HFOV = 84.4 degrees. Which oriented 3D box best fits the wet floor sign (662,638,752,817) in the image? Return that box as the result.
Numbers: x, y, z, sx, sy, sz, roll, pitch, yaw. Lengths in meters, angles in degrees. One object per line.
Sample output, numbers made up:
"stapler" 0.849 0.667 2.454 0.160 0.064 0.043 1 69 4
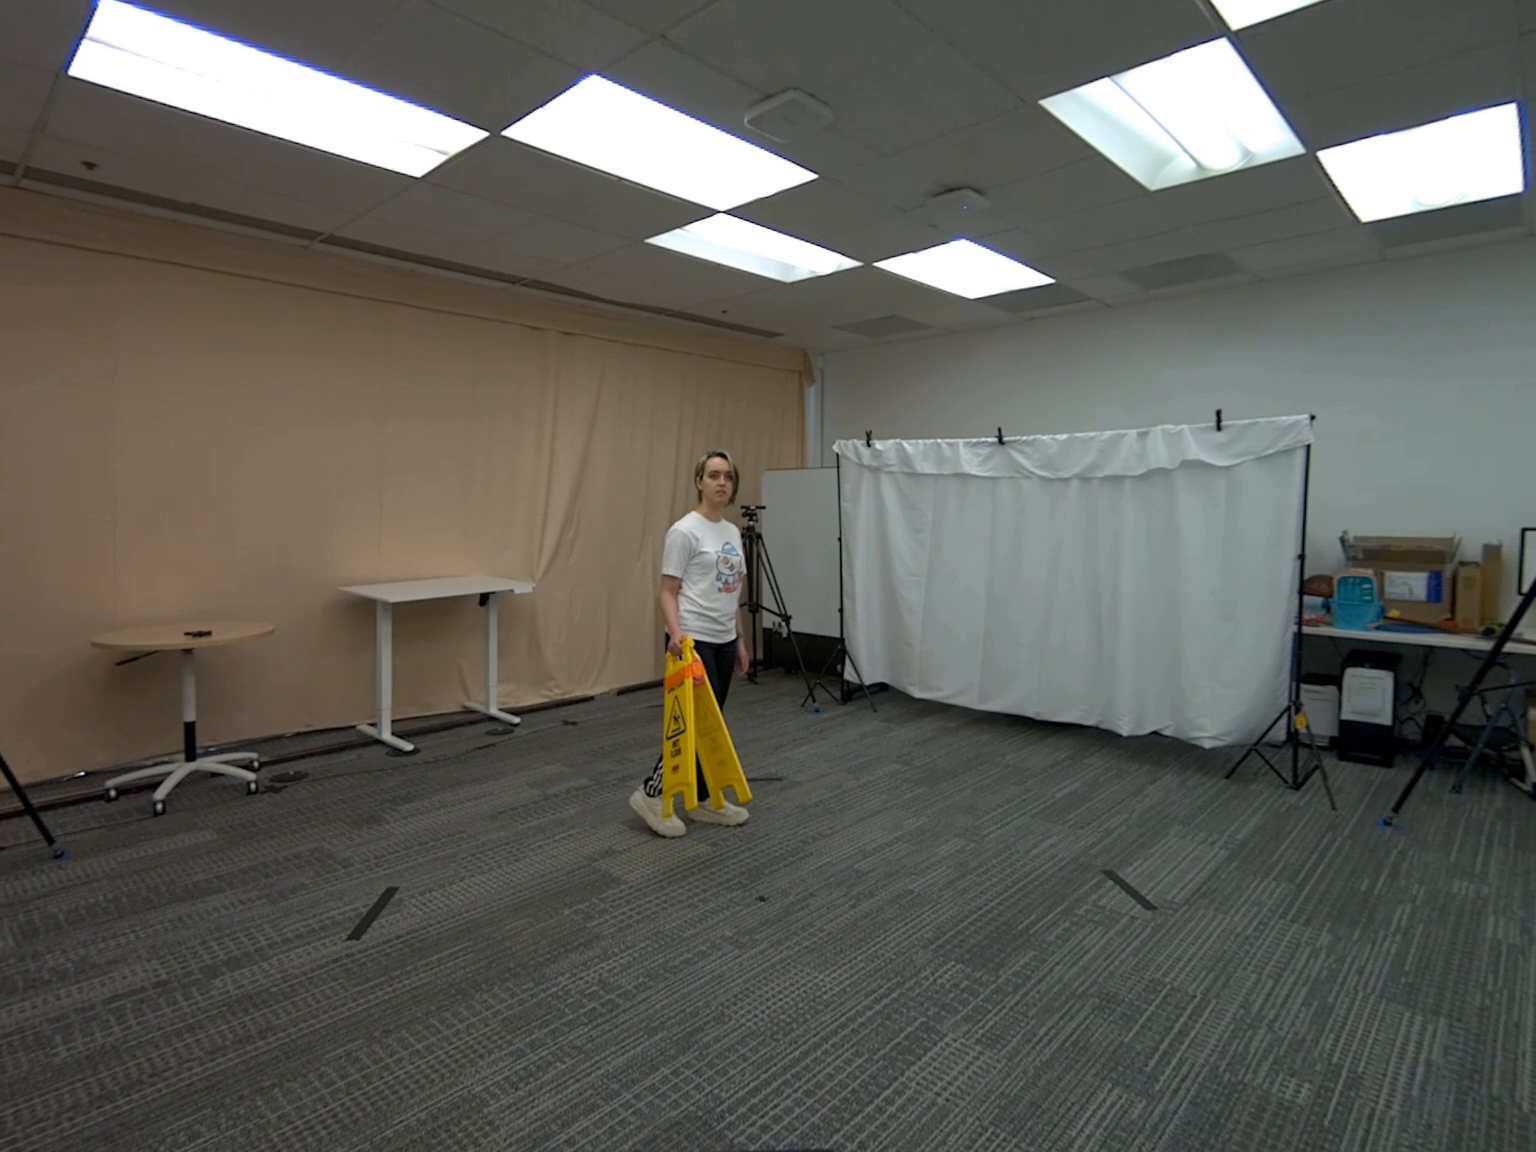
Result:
"wet floor sign" -0.290 0.570 3.268 0.281 0.656 0.286 1 -22 -32
